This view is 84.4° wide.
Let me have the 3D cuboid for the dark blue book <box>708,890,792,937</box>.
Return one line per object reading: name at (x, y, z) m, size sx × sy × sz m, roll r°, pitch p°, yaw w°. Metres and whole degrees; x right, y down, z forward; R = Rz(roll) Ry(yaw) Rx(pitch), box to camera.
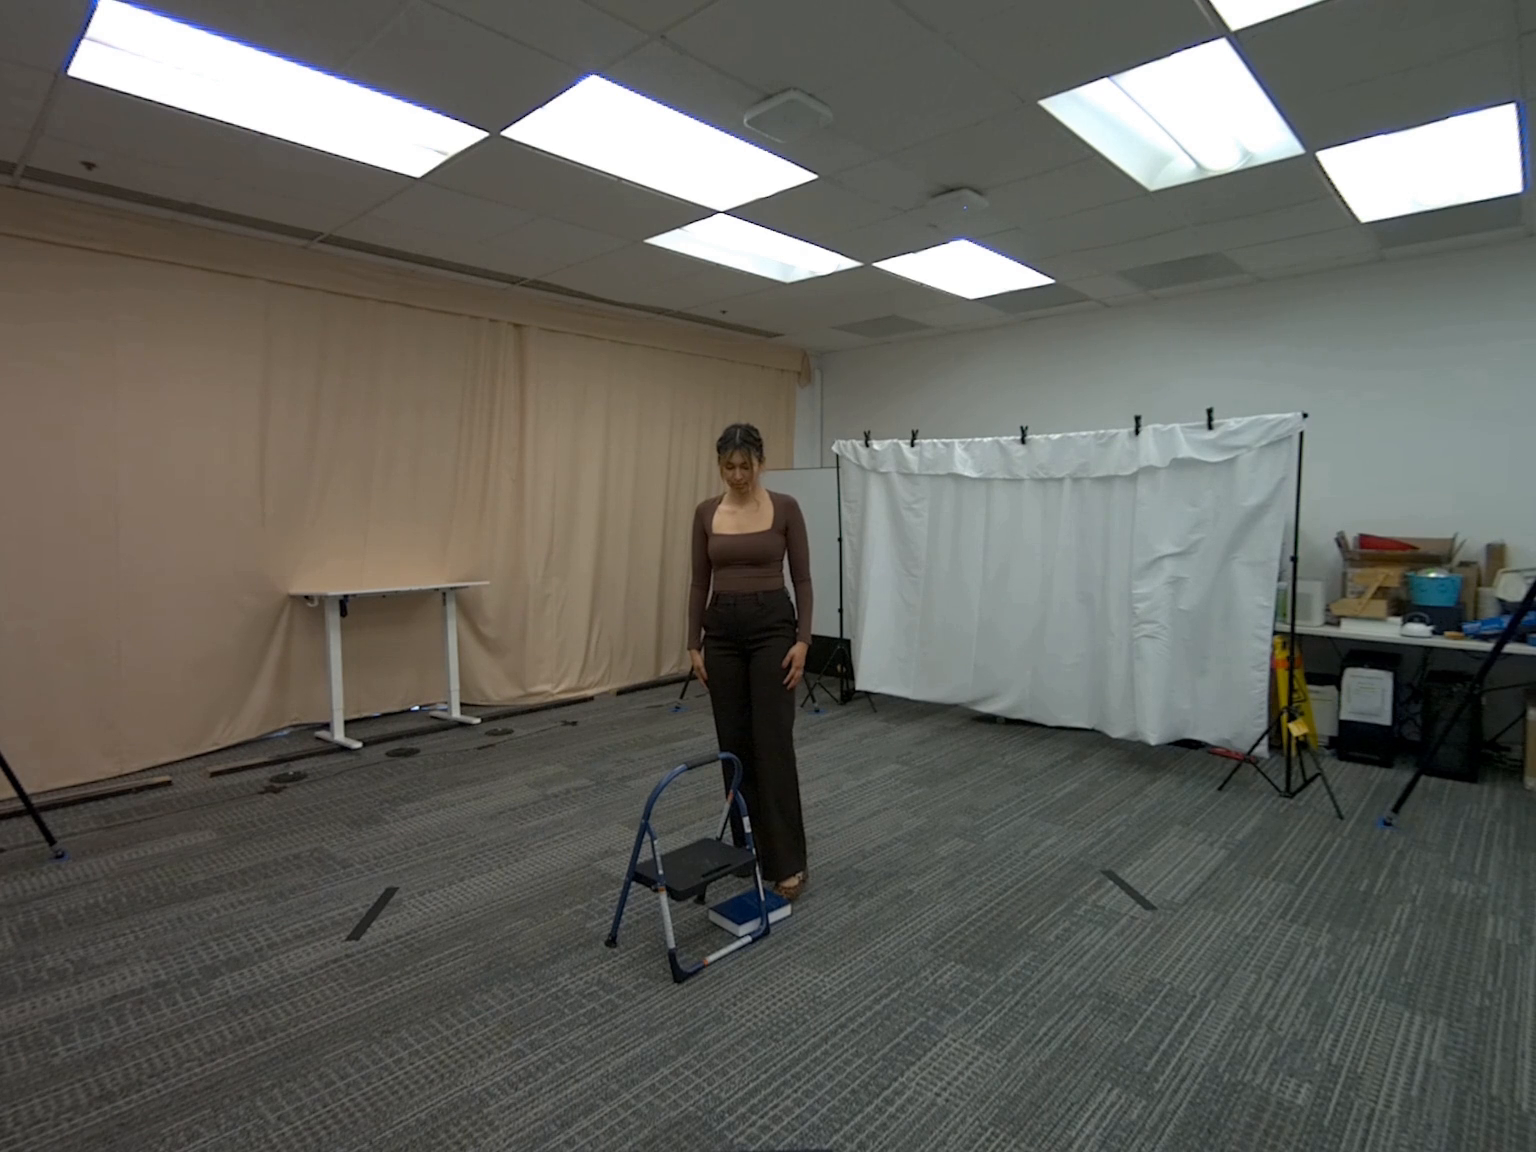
dark blue book at (-0.059, 1.129, 2.847) m, size 0.237 × 0.045 × 0.169 m, roll -4°, pitch 7°, yaw -42°
